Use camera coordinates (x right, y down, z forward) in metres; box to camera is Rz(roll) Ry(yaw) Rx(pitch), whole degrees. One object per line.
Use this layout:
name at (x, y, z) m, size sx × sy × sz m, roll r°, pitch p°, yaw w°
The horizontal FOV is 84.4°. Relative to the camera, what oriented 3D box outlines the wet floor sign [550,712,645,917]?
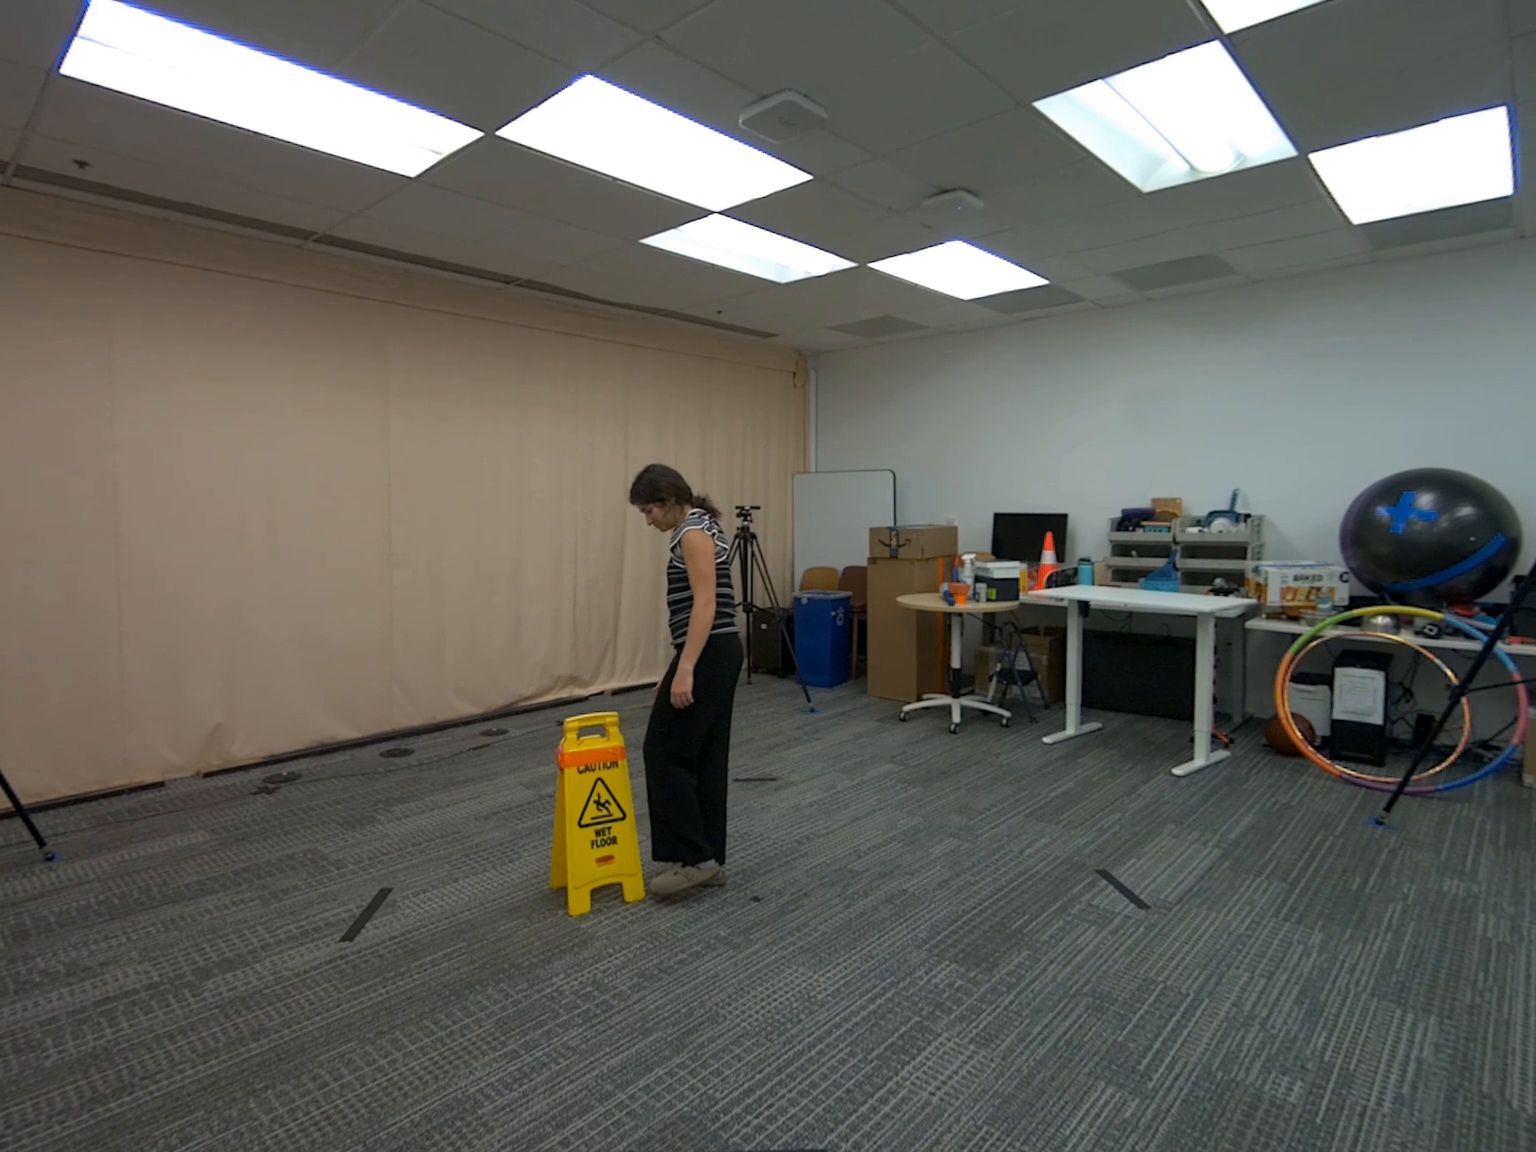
wet floor sign at (-0.625, 0.824, 3.020) m, size 0.275 × 0.645 × 0.297 m, roll -2°, pitch 2°, yaw -27°
